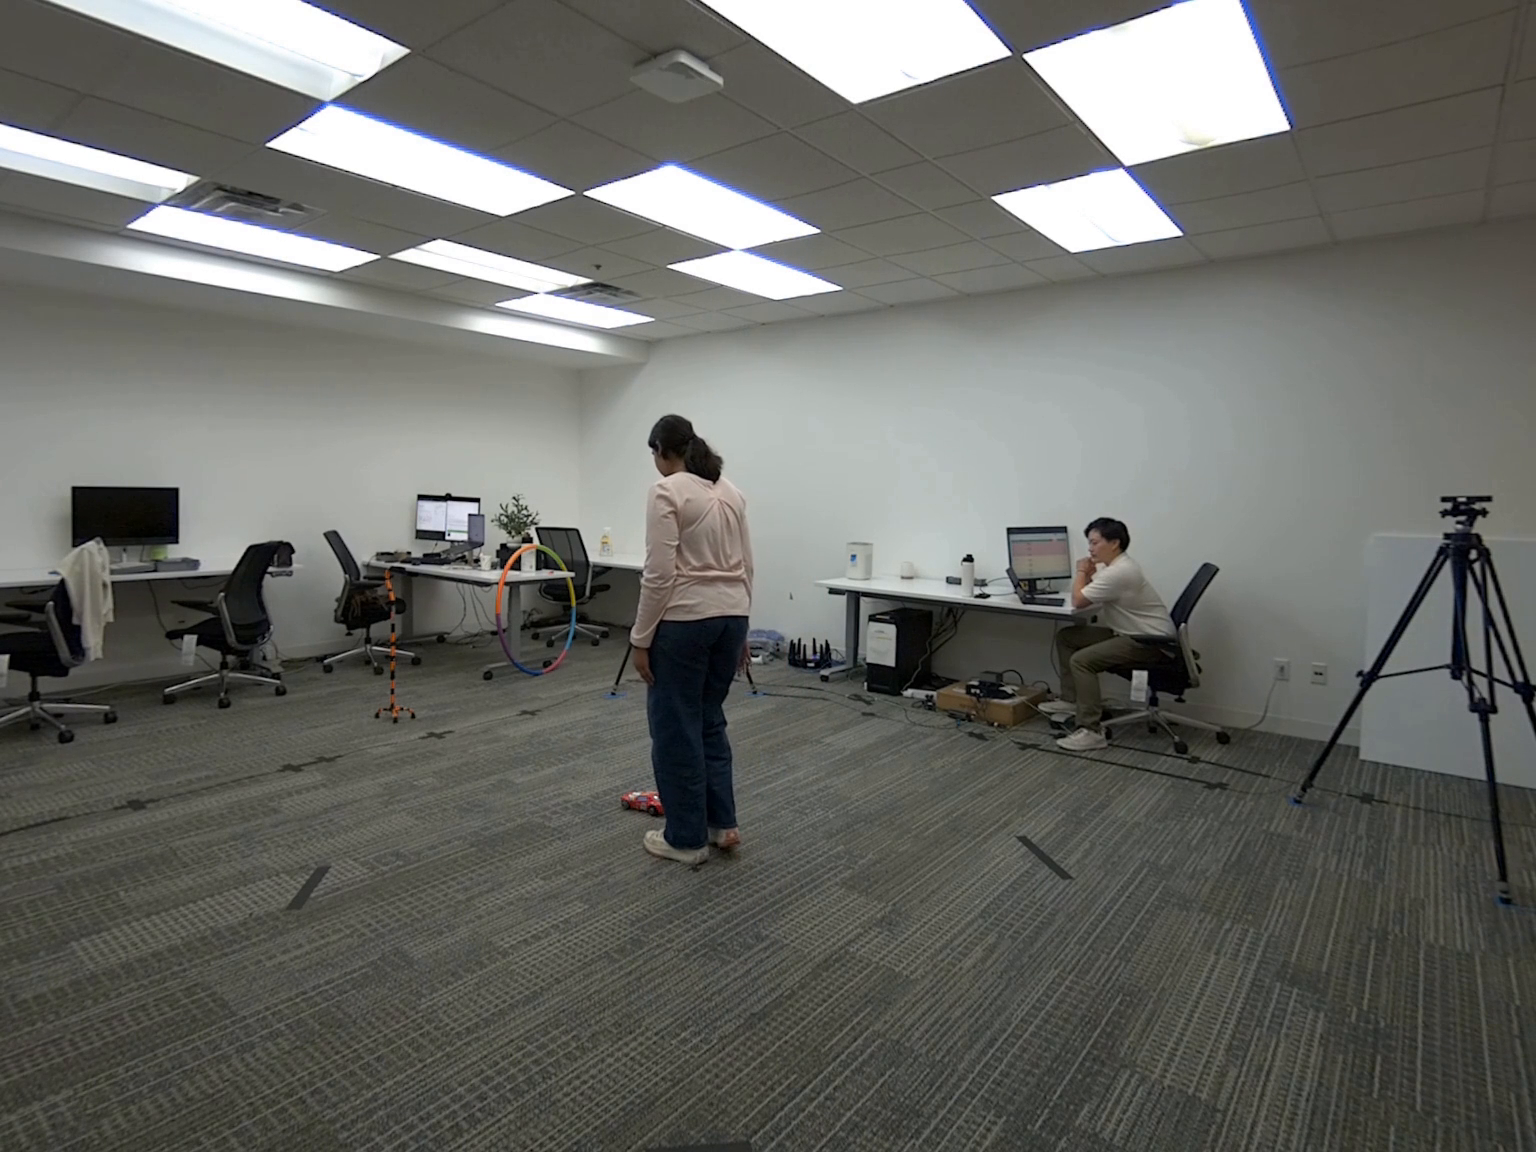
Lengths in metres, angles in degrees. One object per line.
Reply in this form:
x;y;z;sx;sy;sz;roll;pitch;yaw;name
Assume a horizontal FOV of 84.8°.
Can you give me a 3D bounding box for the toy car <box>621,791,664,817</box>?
-0.522;0.978;3.673;0.260;0.083;0.127;-8;-1;29;toy car
